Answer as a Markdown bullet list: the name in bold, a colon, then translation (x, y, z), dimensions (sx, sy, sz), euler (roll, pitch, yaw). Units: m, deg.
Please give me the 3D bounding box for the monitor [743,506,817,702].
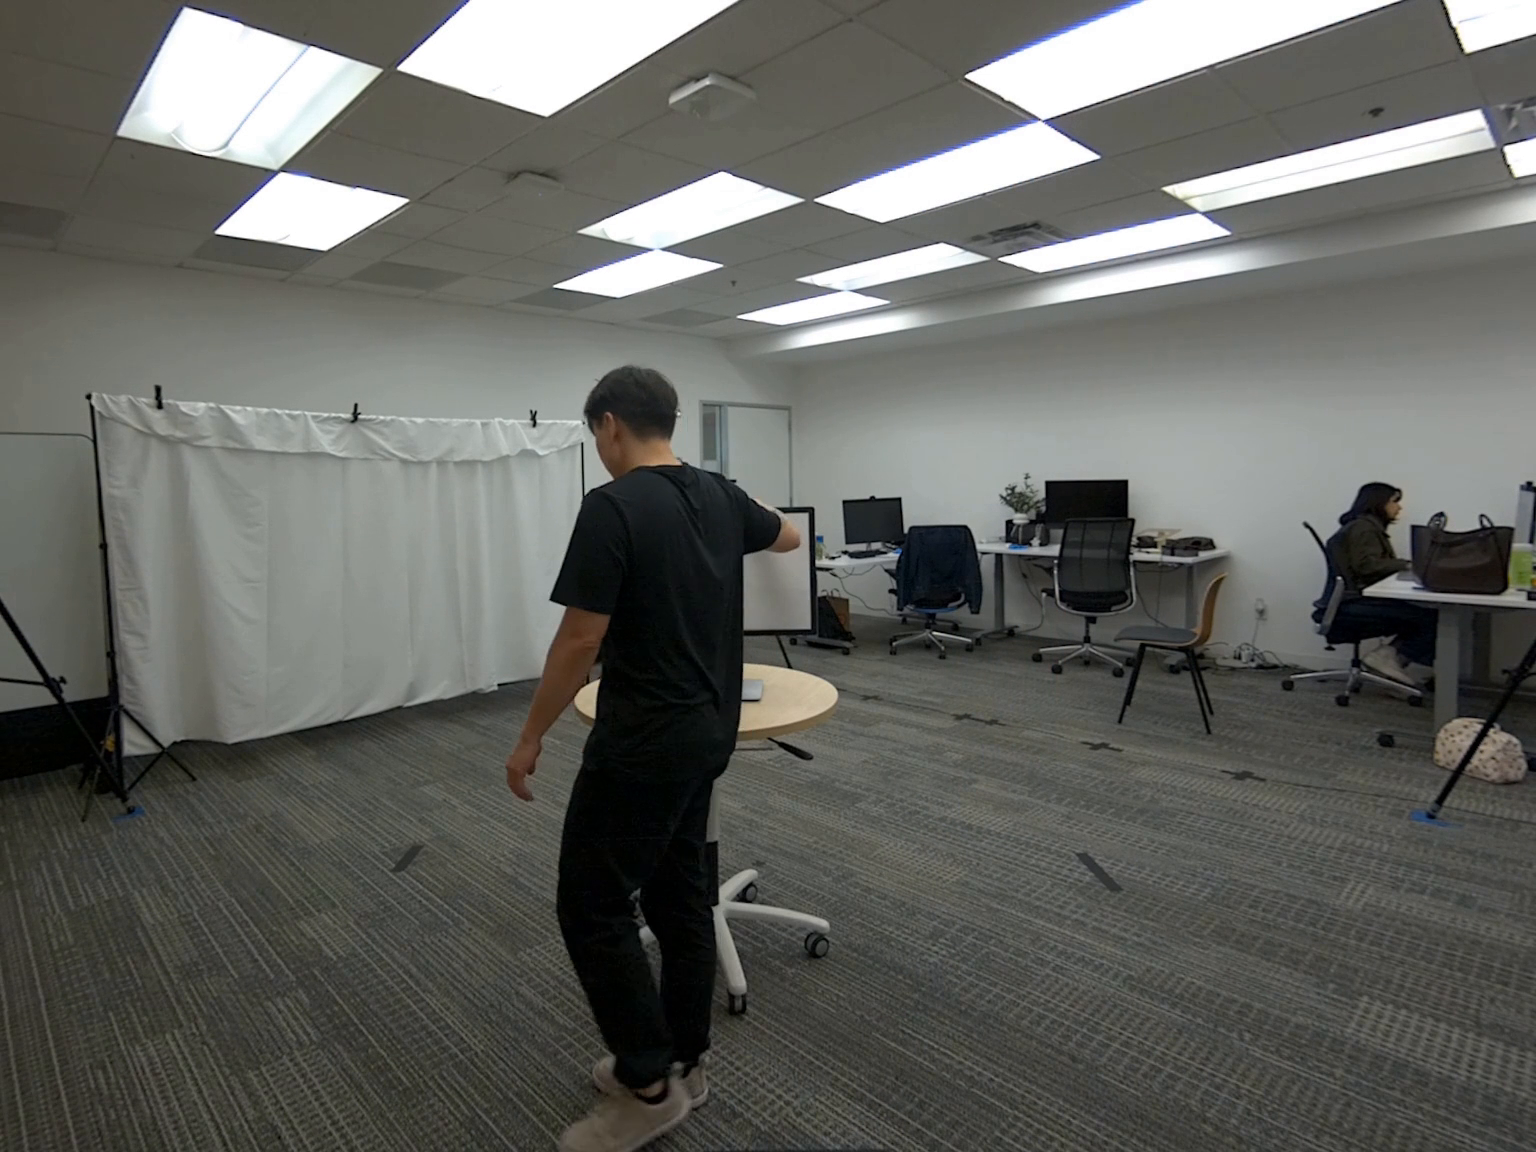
- **monitor**: translation (-0.138, 0.080, 2.492), dimensions (0.540, 0.519, 0.188), euler (-1, 6, 2)
